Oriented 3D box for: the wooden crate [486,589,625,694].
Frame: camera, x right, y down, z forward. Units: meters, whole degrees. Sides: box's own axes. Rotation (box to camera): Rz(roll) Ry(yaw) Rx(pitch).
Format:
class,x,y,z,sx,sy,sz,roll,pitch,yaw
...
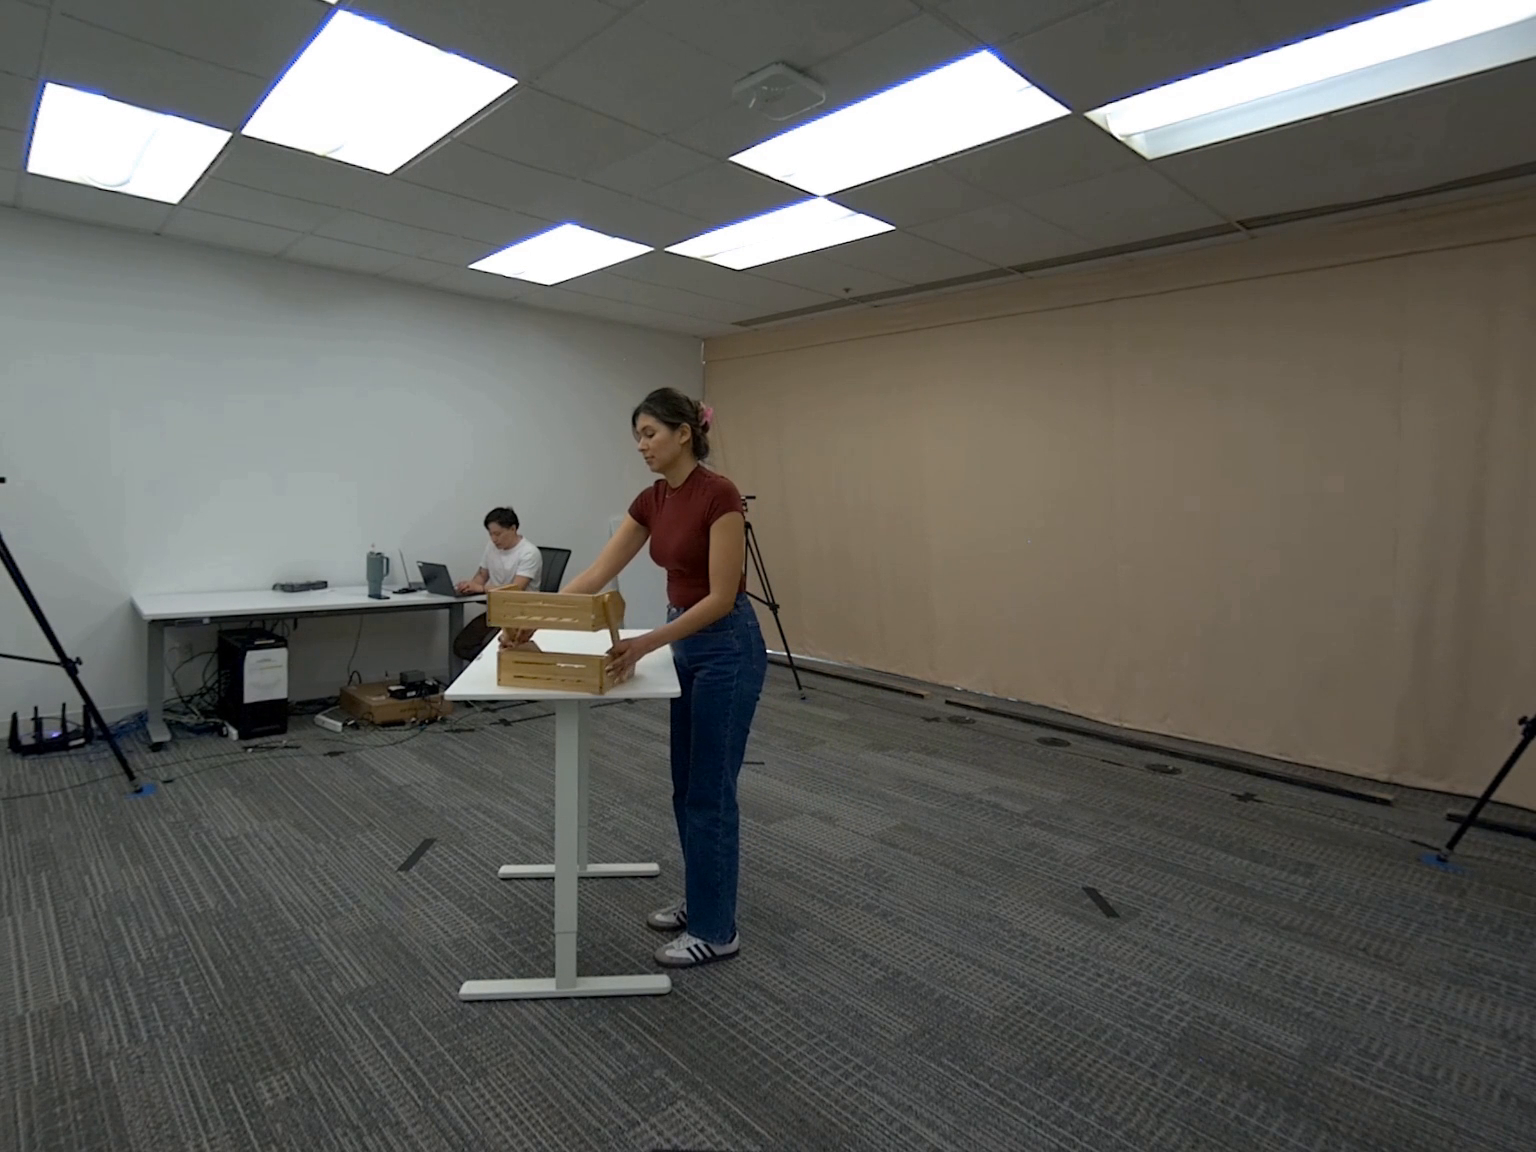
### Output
class,x,y,z,sx,sy,sz,roll,pitch,yaw
wooden crate,-0.558,0.156,2.280,0.328,0.272,0.300,2,6,14
